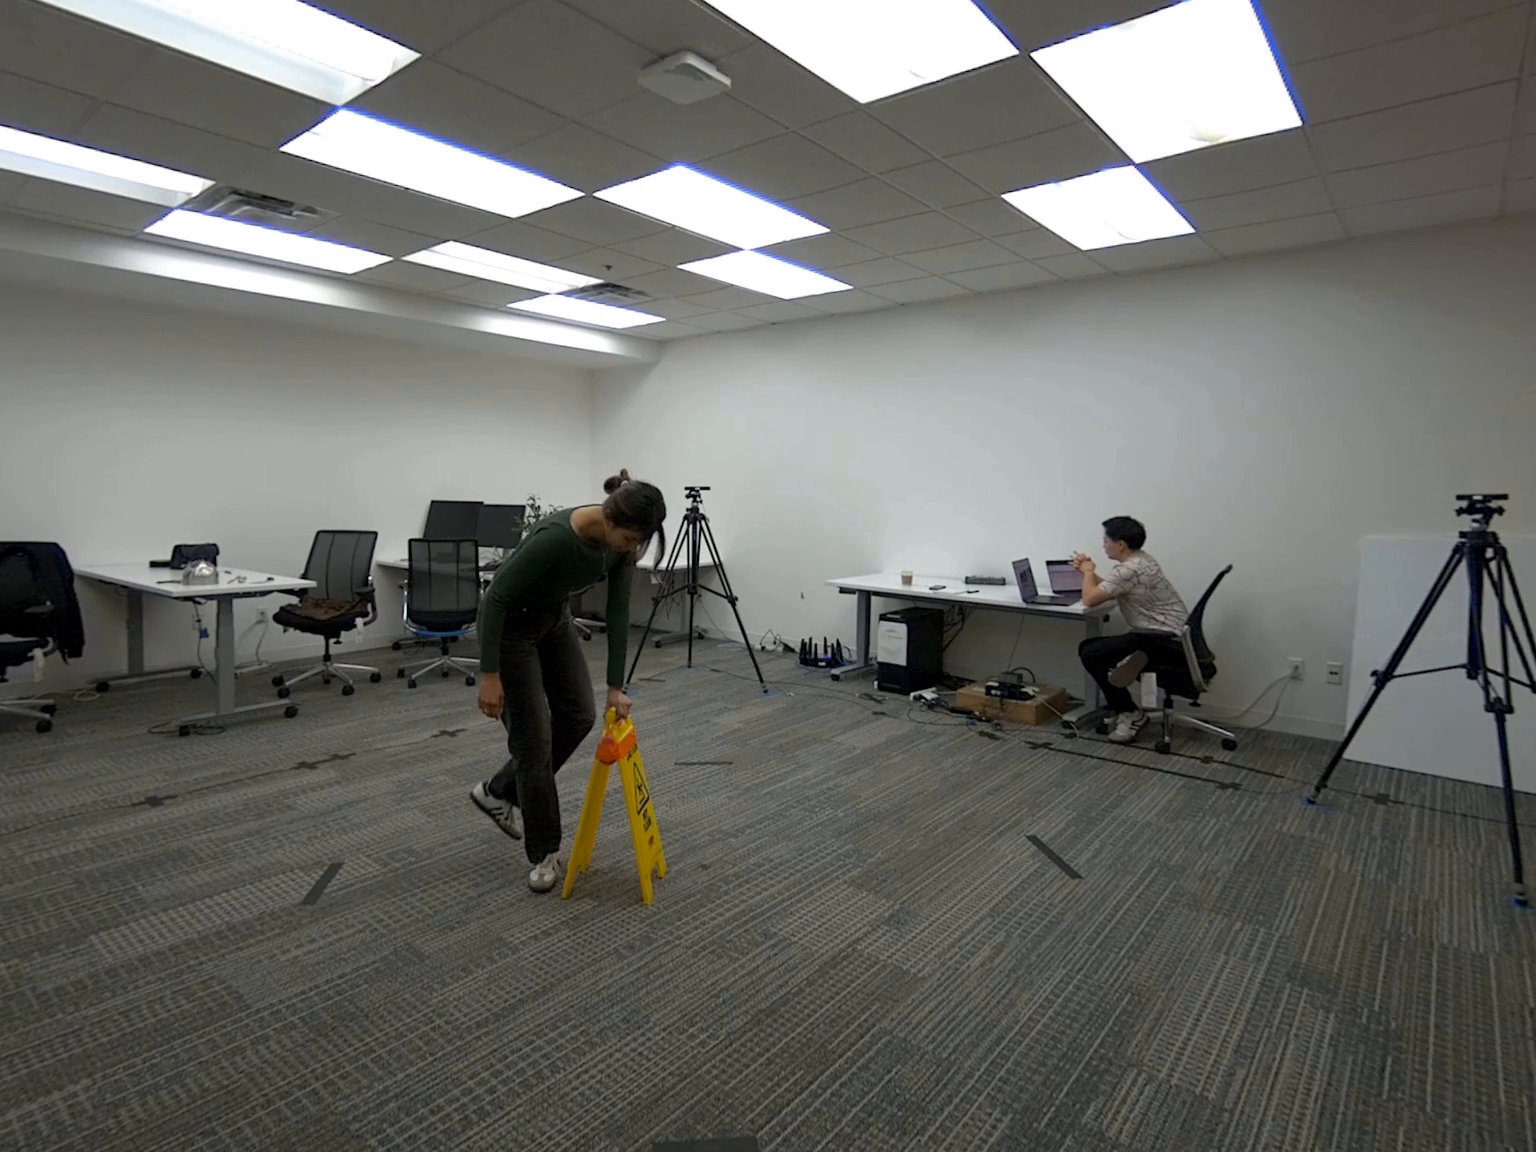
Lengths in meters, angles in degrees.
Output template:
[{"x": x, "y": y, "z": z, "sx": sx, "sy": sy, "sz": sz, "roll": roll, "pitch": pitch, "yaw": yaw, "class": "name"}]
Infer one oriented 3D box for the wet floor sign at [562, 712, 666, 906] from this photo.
[{"x": -0.531, "y": 0.756, "z": 2.947, "sx": 0.292, "sy": 0.643, "sz": 0.281, "roll": 2, "pitch": 4, "yaw": 6, "class": "wet floor sign"}]
